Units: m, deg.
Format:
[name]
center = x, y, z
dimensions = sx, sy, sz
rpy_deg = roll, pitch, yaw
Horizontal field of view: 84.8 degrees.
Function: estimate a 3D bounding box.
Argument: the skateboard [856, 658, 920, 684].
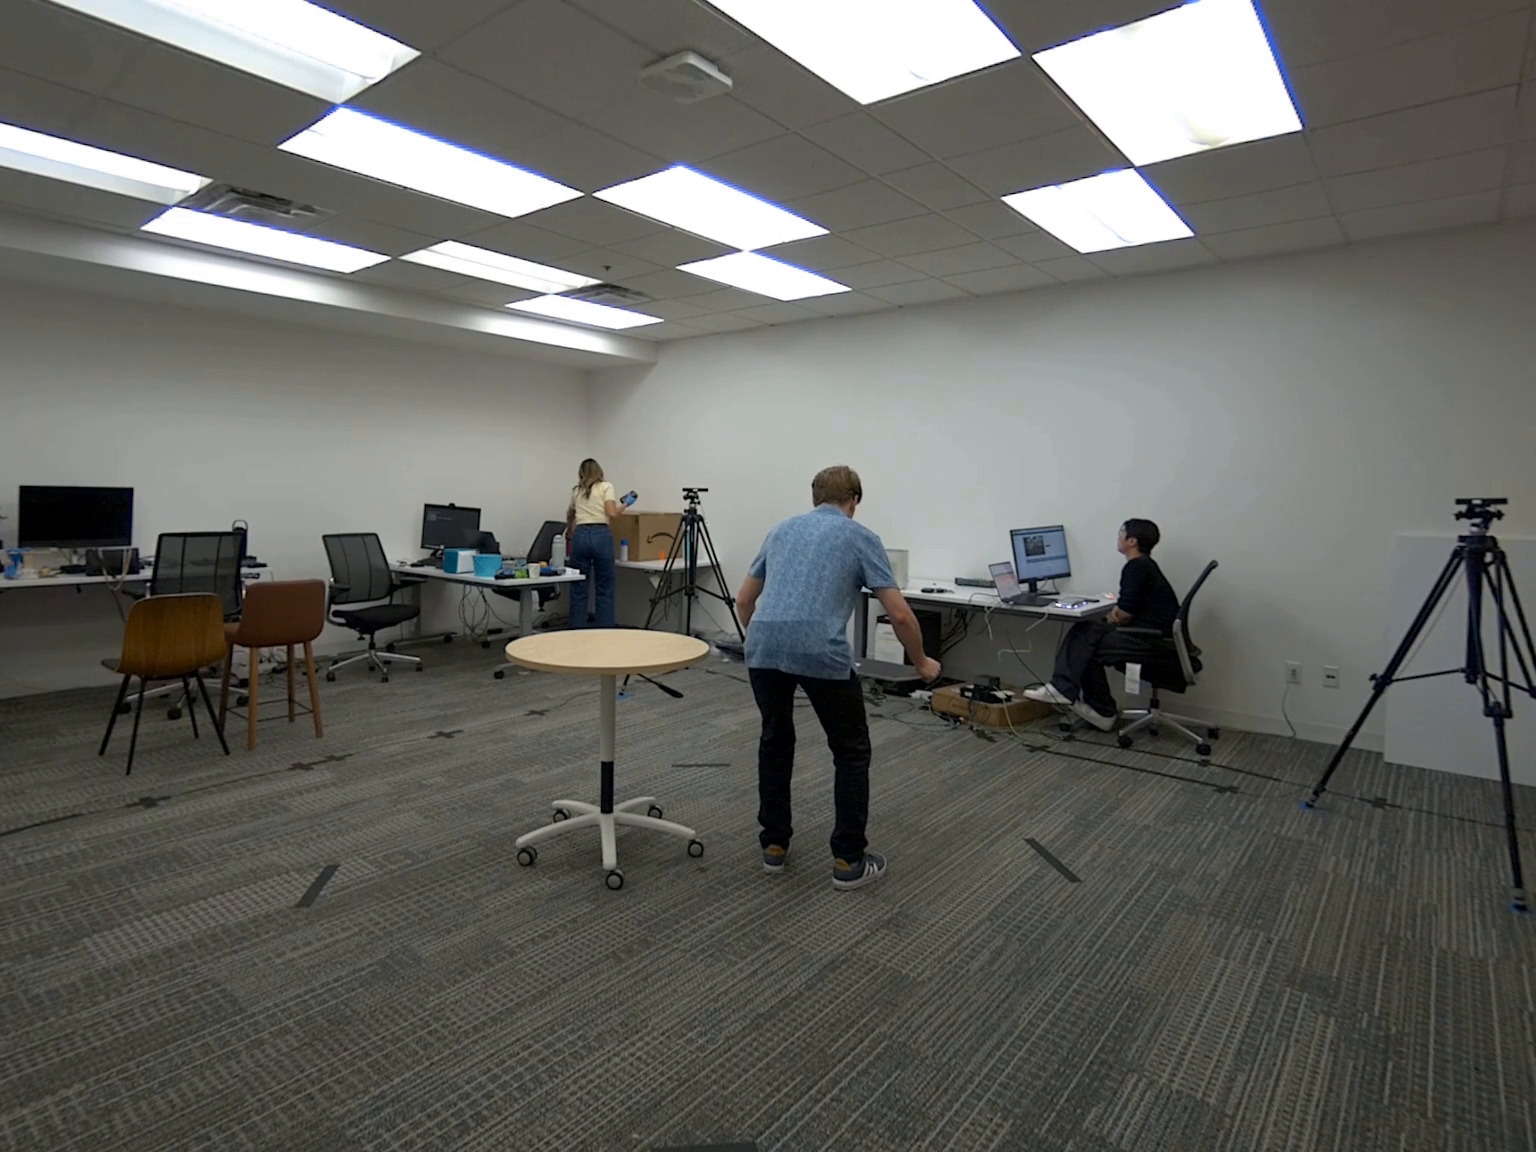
[skateboard]
center = 0.263, 0.375, 3.446
dimensions = 0.811, 0.109, 0.188
rpy_deg = 5, 10, 36
